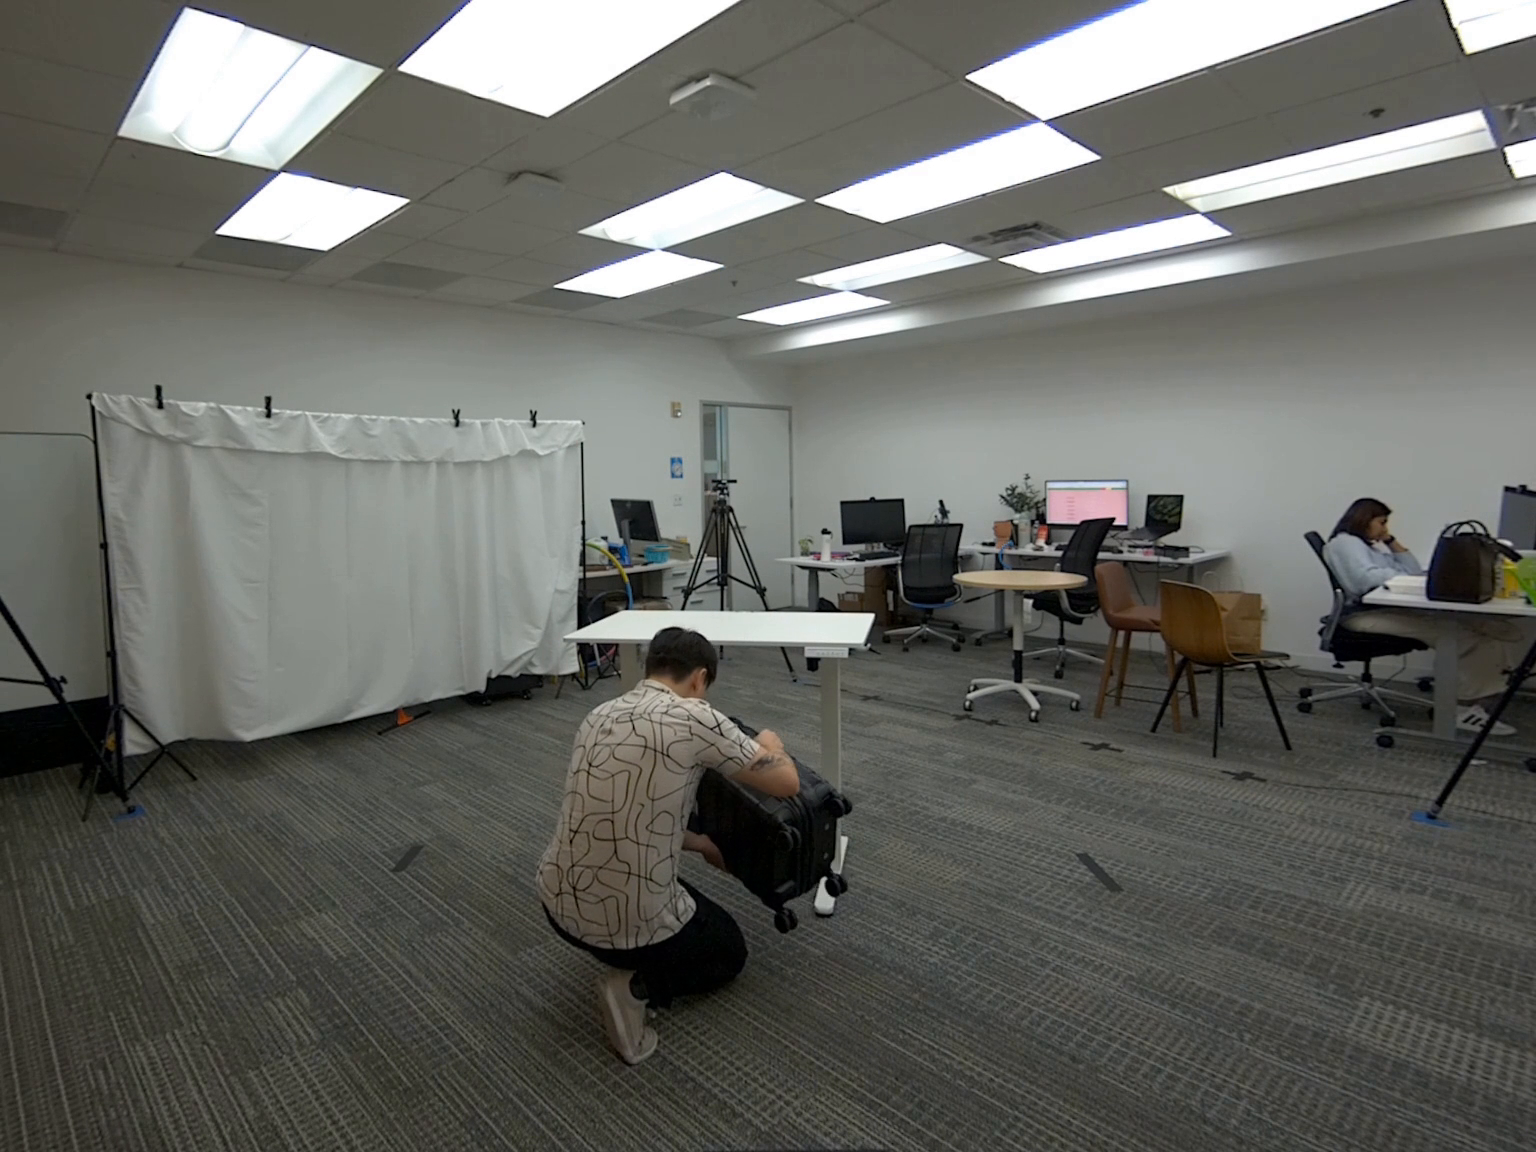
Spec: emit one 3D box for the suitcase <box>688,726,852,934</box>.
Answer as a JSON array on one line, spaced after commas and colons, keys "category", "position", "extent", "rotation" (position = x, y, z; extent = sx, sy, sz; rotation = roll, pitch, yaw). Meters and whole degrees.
[{"category": "suitcase", "position": [-0.040, 0.686, 2.524], "extent": [0.244, 0.368, 0.570], "rotation": [-19, 32, -37]}]
